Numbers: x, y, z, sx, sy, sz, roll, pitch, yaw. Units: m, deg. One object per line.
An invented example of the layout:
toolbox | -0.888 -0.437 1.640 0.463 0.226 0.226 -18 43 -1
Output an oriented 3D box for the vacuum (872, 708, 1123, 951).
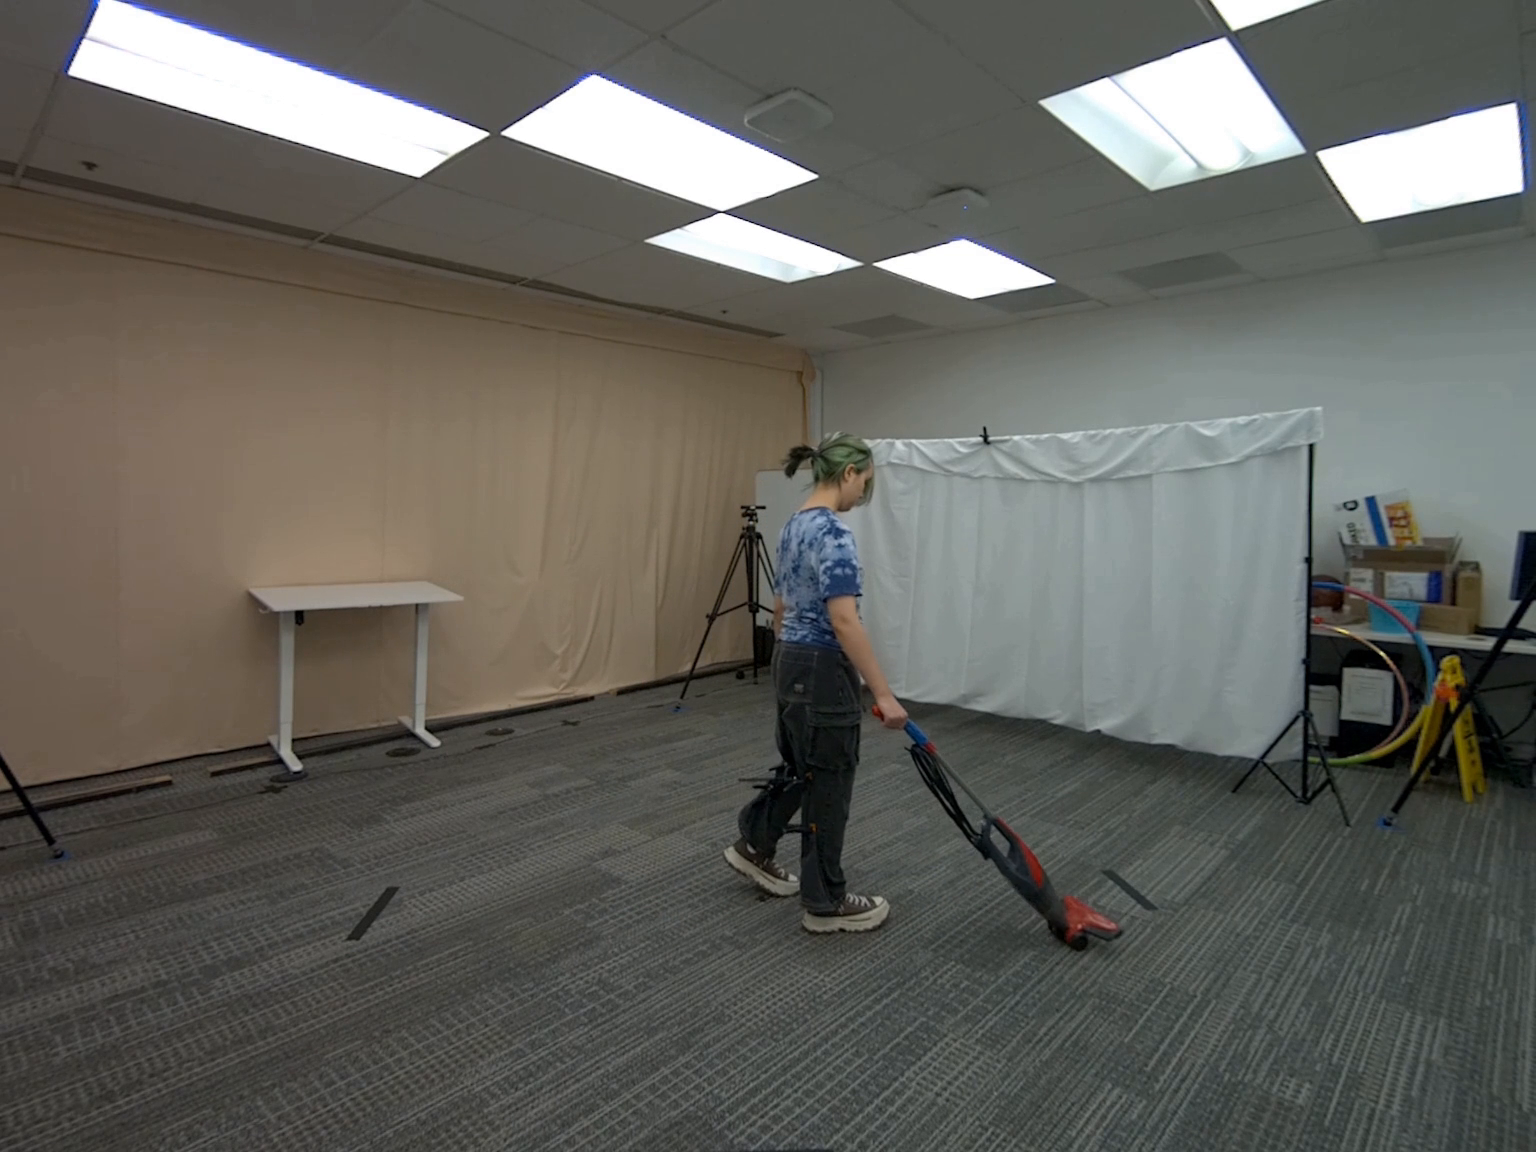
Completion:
vacuum | 0.662 0.777 2.597 0.143 1.034 0.257 -47 13 -13
